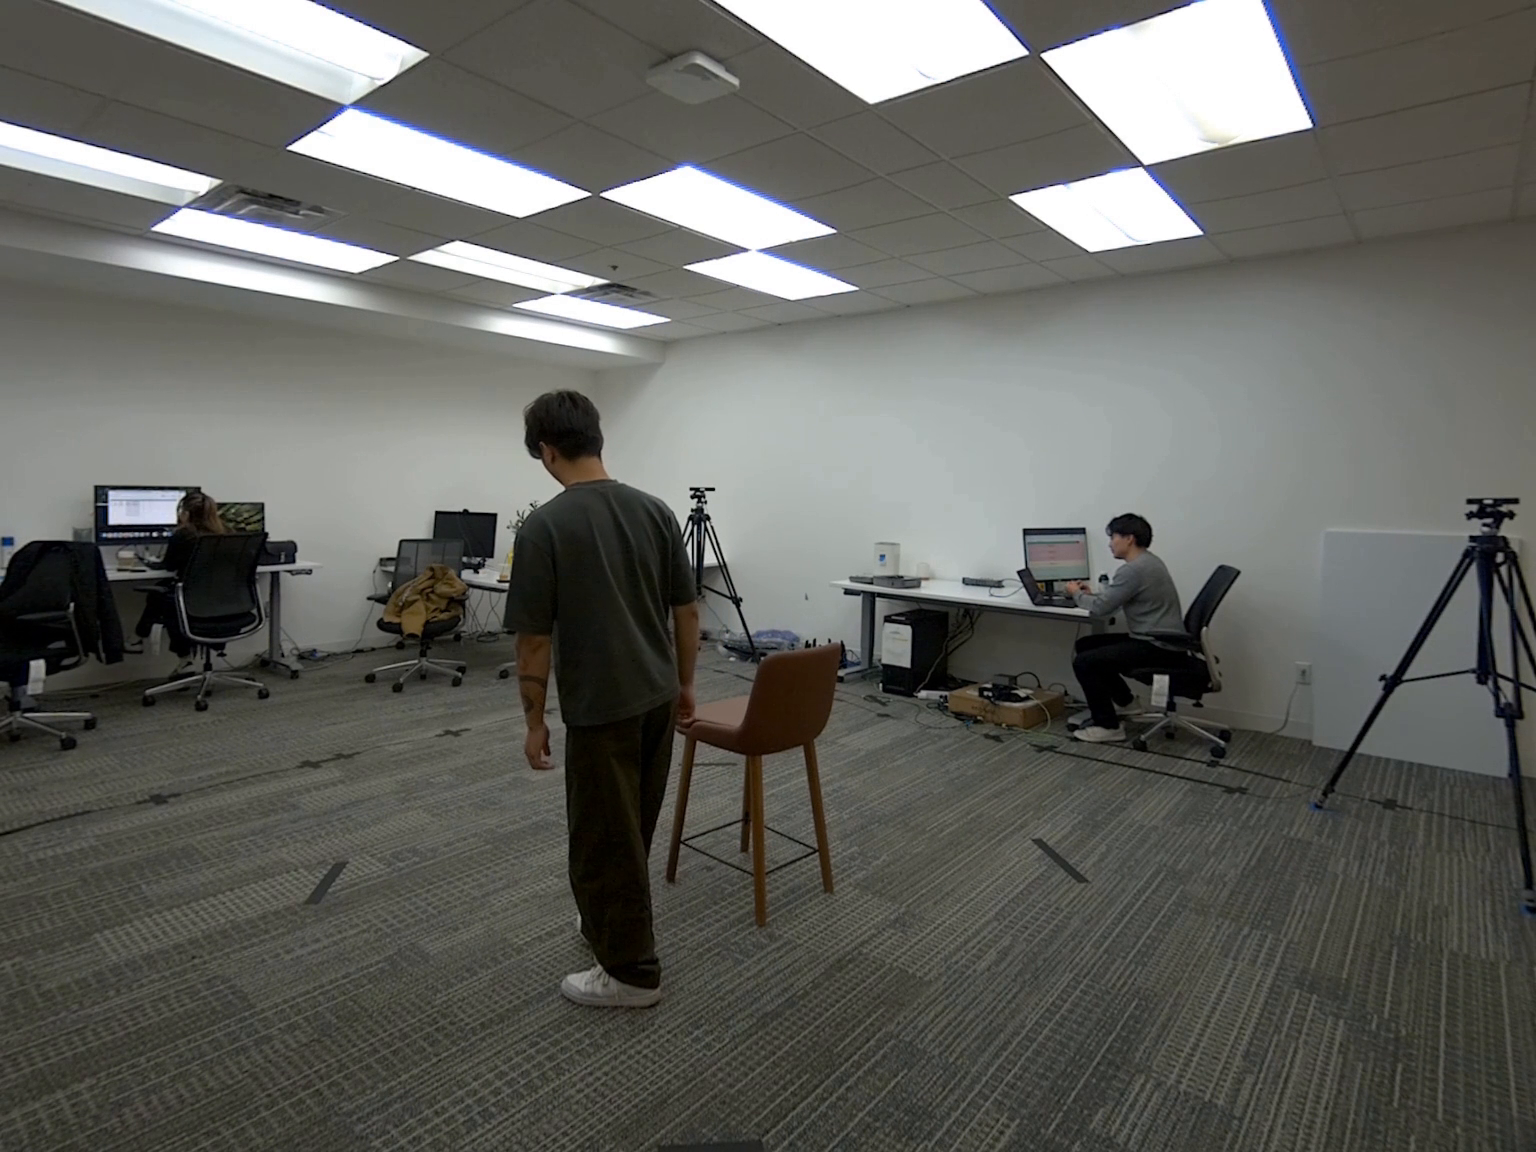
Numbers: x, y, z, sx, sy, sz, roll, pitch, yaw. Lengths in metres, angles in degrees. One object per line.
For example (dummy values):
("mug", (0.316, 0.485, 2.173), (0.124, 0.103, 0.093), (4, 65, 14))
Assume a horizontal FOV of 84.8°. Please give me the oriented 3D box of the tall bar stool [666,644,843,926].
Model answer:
("tall bar stool", (-0.054, 0.648, 2.958), (0.484, 0.886, 0.442), (7, 6, 44))
